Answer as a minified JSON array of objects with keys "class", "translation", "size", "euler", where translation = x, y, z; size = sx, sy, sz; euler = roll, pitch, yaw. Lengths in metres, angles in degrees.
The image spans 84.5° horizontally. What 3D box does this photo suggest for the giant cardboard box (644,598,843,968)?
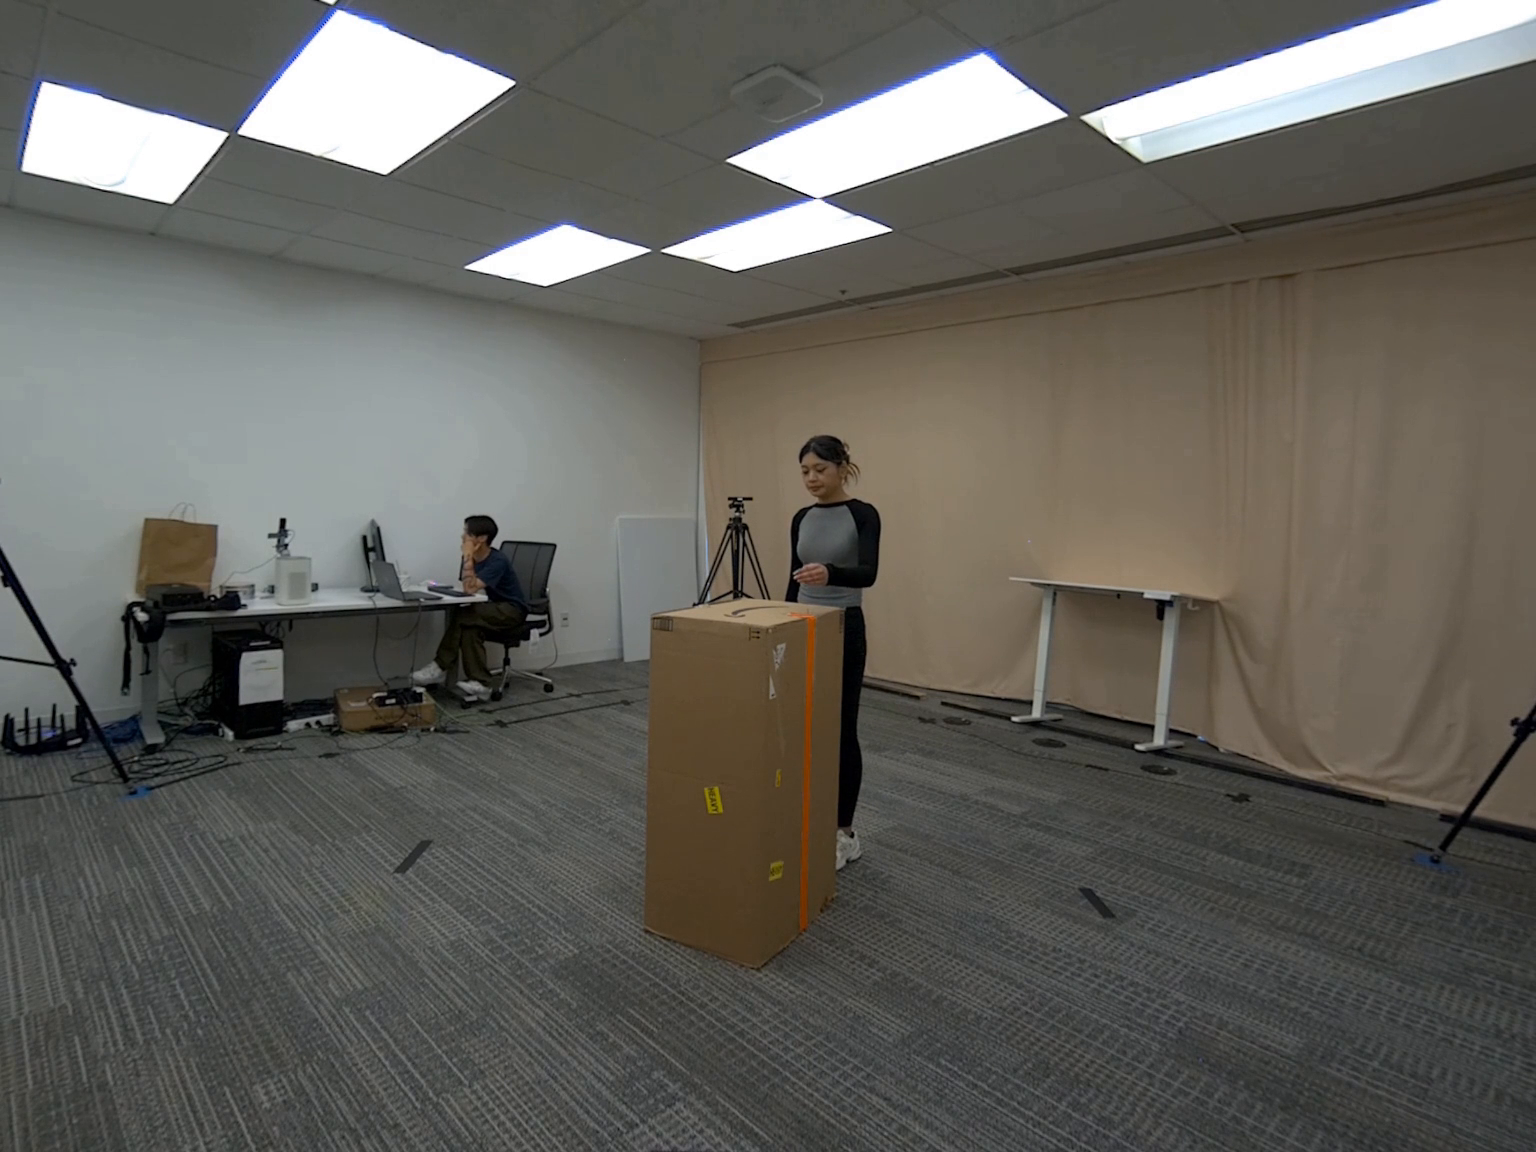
[{"class":"giant cardboard box","translation":[-0.070,0.630,2.805],"size":[0.456,1.025,0.573],"euler":[2,3,29]}]
